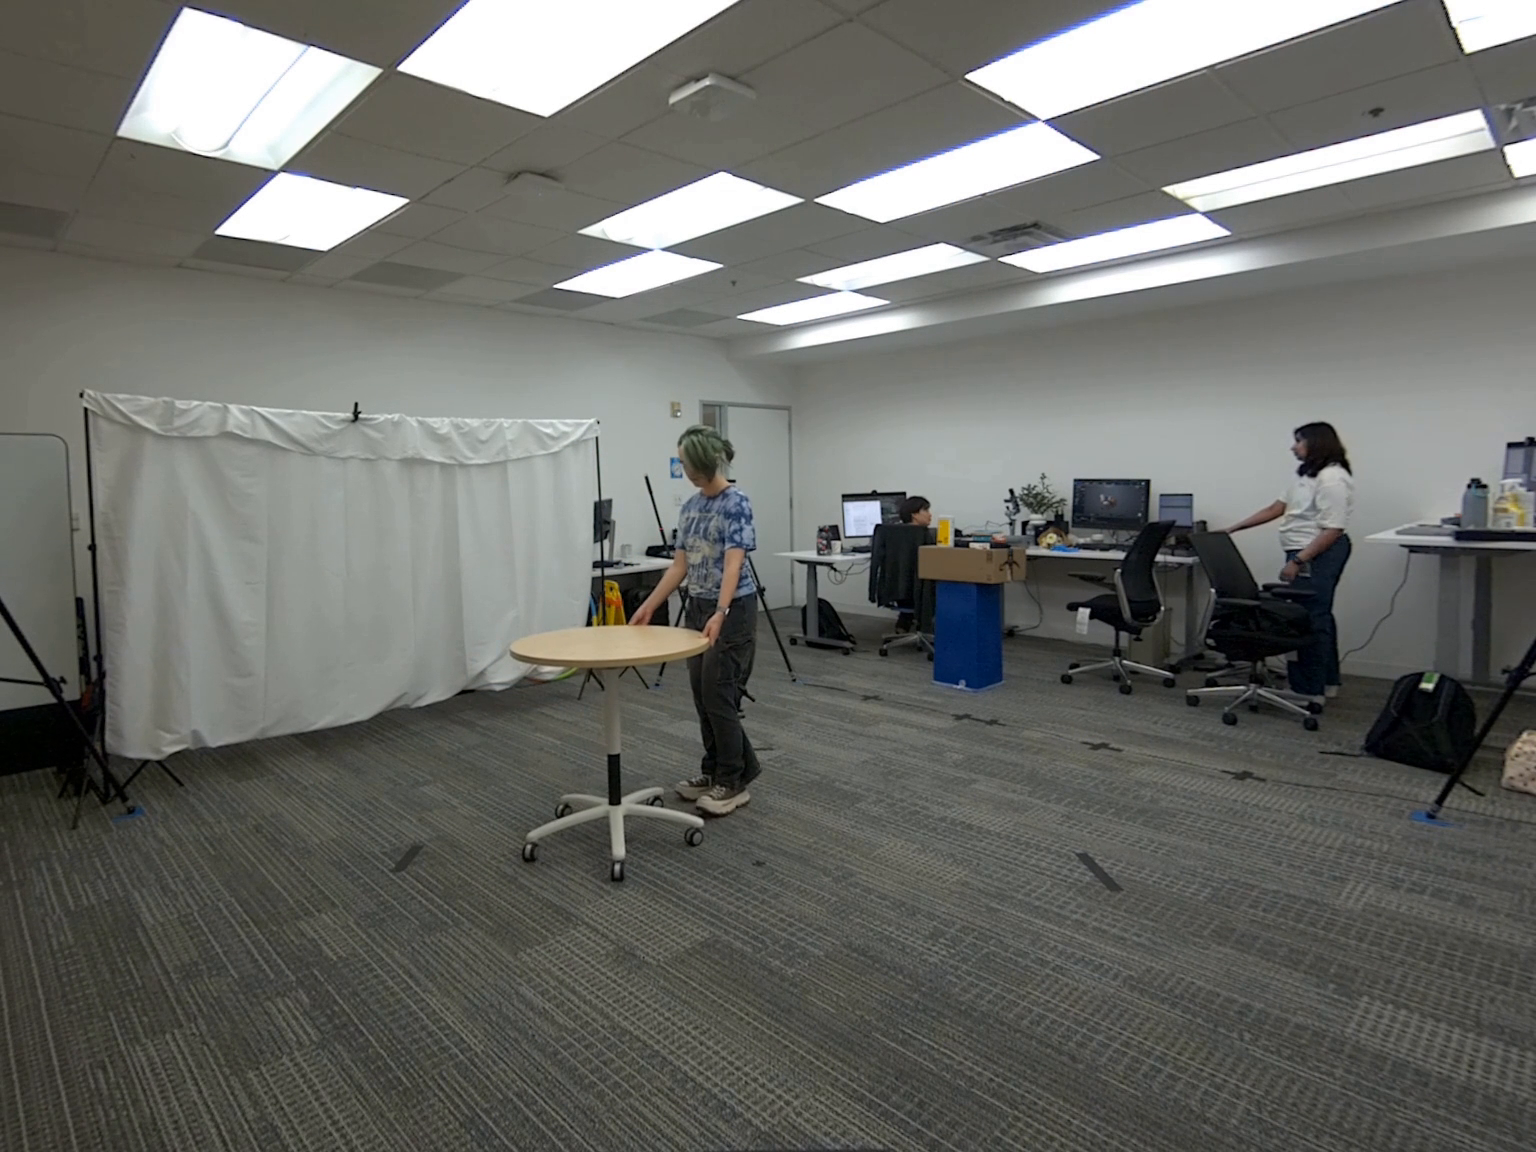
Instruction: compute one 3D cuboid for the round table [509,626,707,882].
[{"bbox_3d":[-0.601,0.645,3.322,0.763,0.791,0.767,-1,4,-2],"label":"round table"}]
